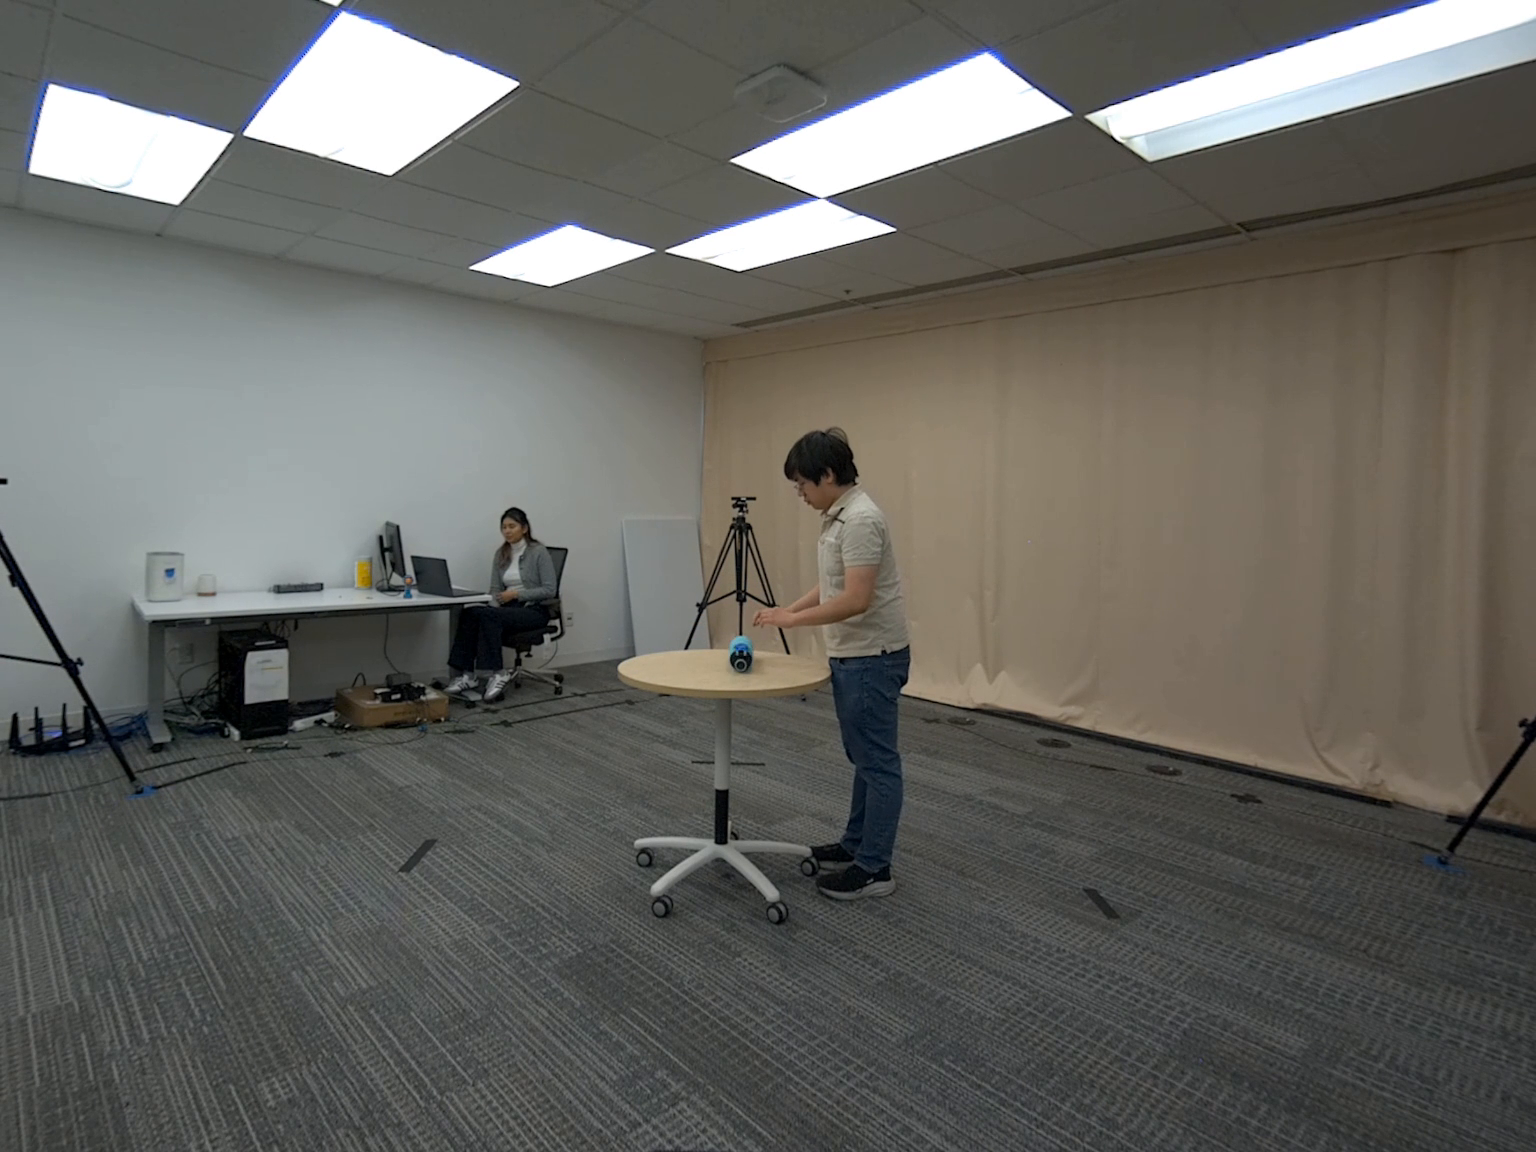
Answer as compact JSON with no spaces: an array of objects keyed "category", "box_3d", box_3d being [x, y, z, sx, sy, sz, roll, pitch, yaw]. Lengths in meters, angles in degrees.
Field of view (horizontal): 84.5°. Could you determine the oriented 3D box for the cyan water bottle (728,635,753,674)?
[{"category":"cyan water bottle","box_3d":[-0.101,0.280,3.060,0.092,0.092,0.284,1,5,-3]}]
